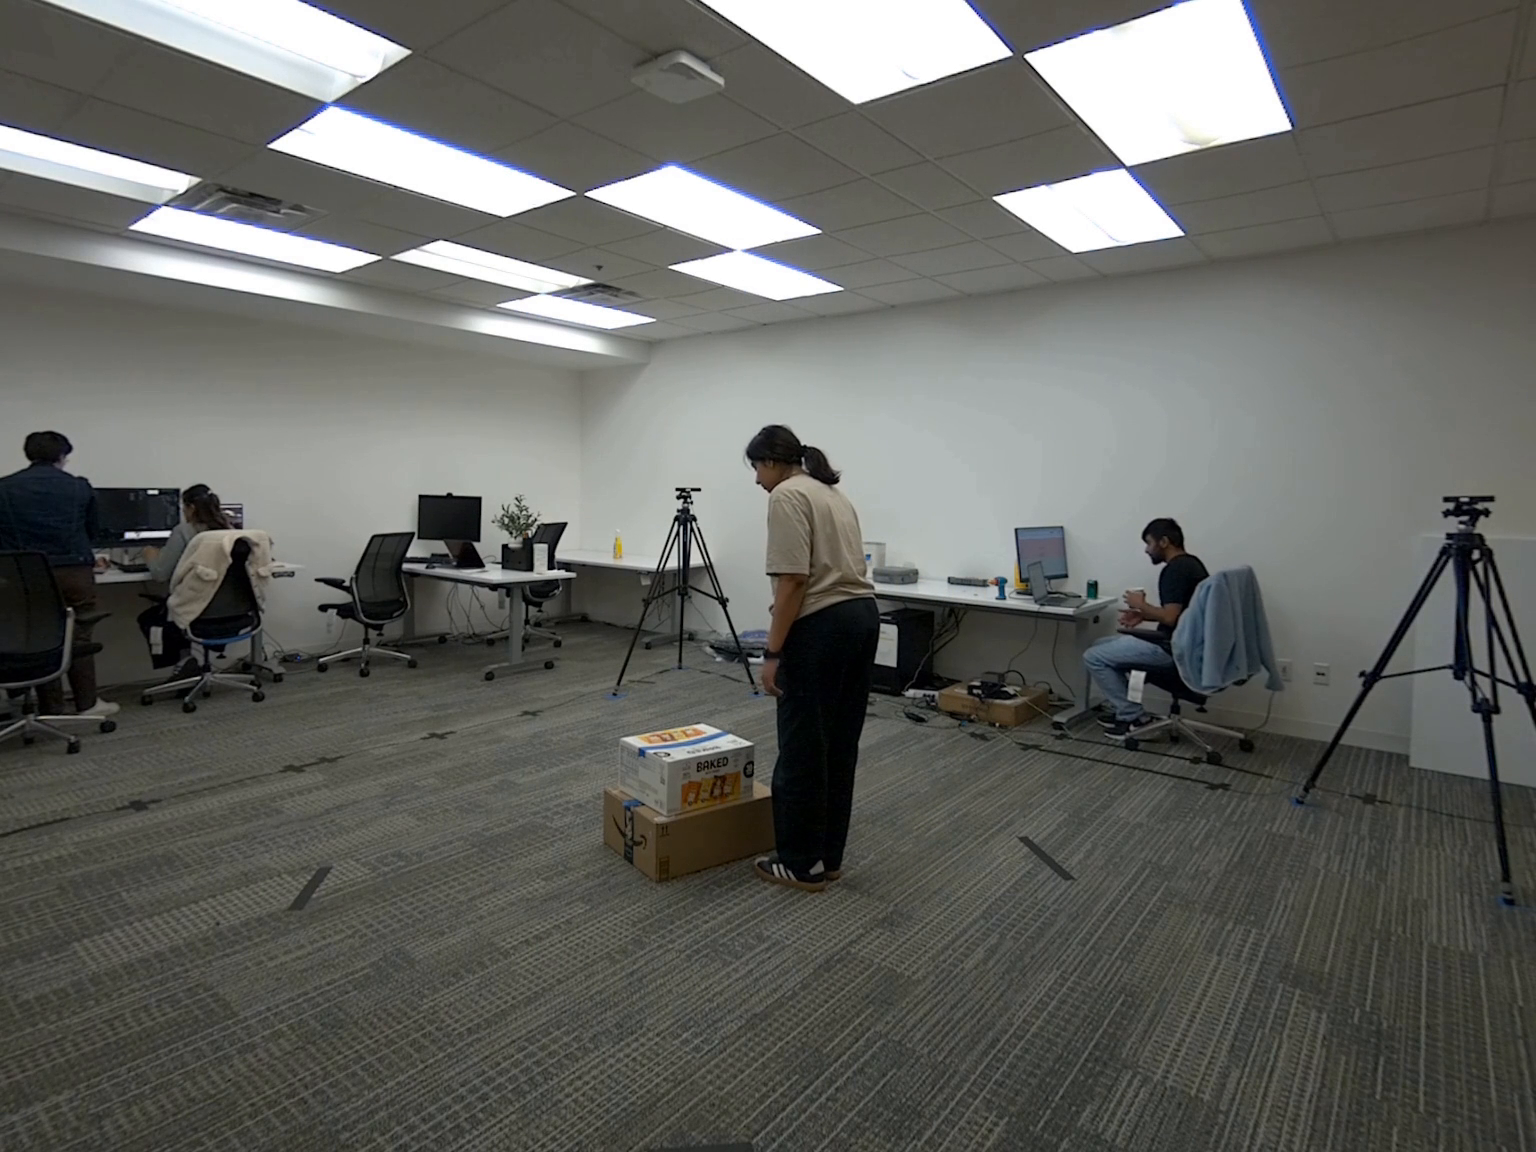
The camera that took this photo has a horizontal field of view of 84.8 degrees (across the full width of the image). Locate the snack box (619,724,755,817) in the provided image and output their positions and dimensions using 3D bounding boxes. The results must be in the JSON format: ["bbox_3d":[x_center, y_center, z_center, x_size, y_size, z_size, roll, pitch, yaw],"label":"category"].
[{"bbox_3d":[-0.325,0.737,3.276,0.393,0.205,0.352,-3,6,-39],"label":"snack box"}]
